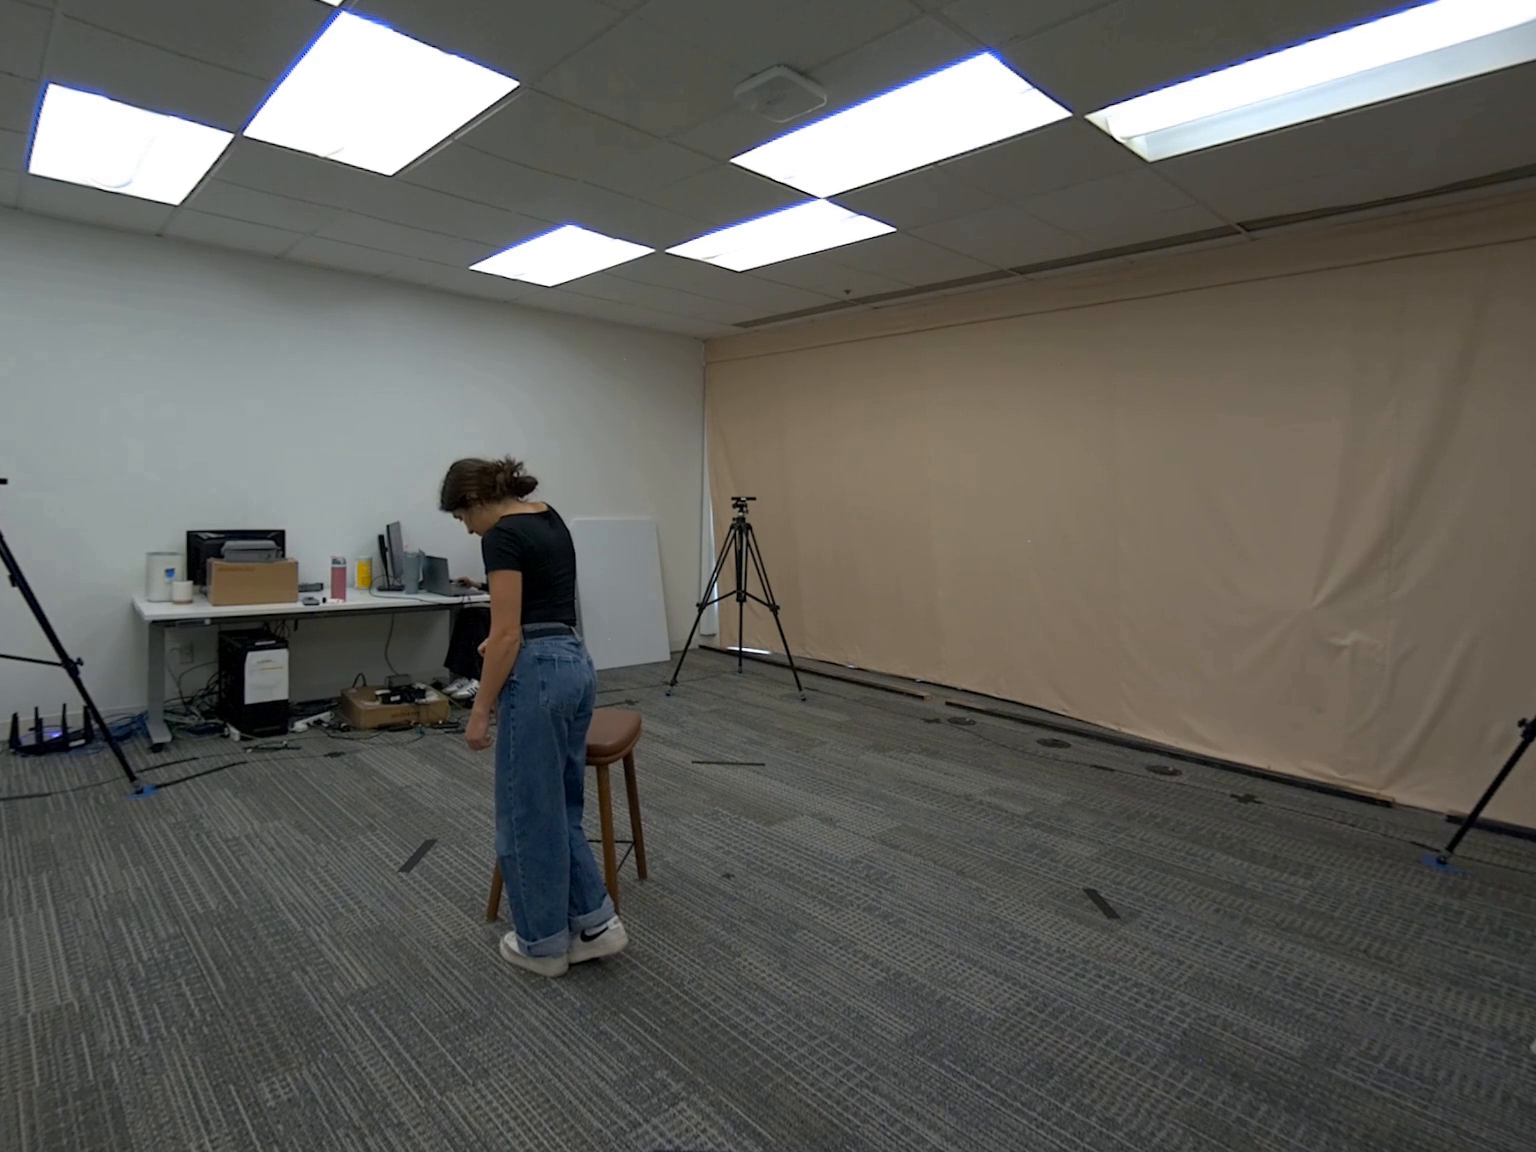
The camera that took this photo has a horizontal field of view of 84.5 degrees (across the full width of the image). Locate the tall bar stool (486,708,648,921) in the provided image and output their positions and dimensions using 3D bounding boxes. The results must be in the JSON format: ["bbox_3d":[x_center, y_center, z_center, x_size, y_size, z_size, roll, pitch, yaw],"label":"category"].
[{"bbox_3d":[-0.688,0.681,2.878,0.470,0.887,0.455,0,4,6],"label":"tall bar stool"}]
